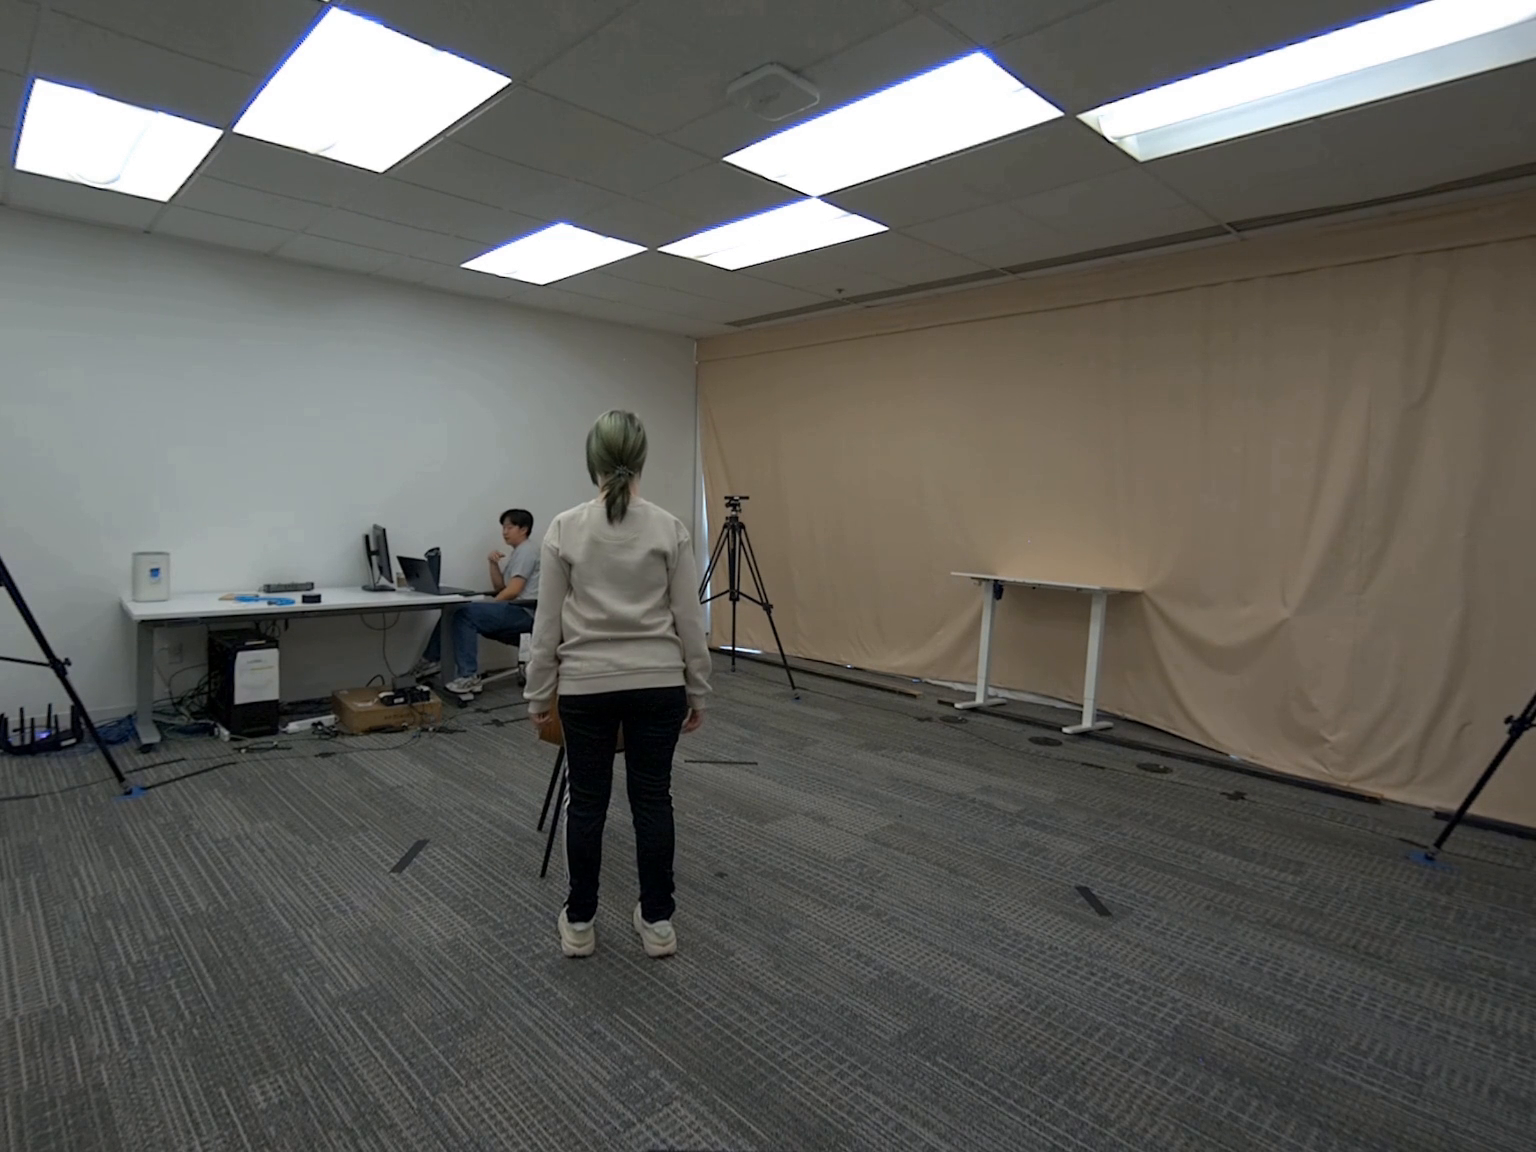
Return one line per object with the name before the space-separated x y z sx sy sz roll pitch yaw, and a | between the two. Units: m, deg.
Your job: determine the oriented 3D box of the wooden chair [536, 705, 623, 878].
wooden chair | -0.660 0.652 3.294 0.472 0.872 0.532 0 8 -16
